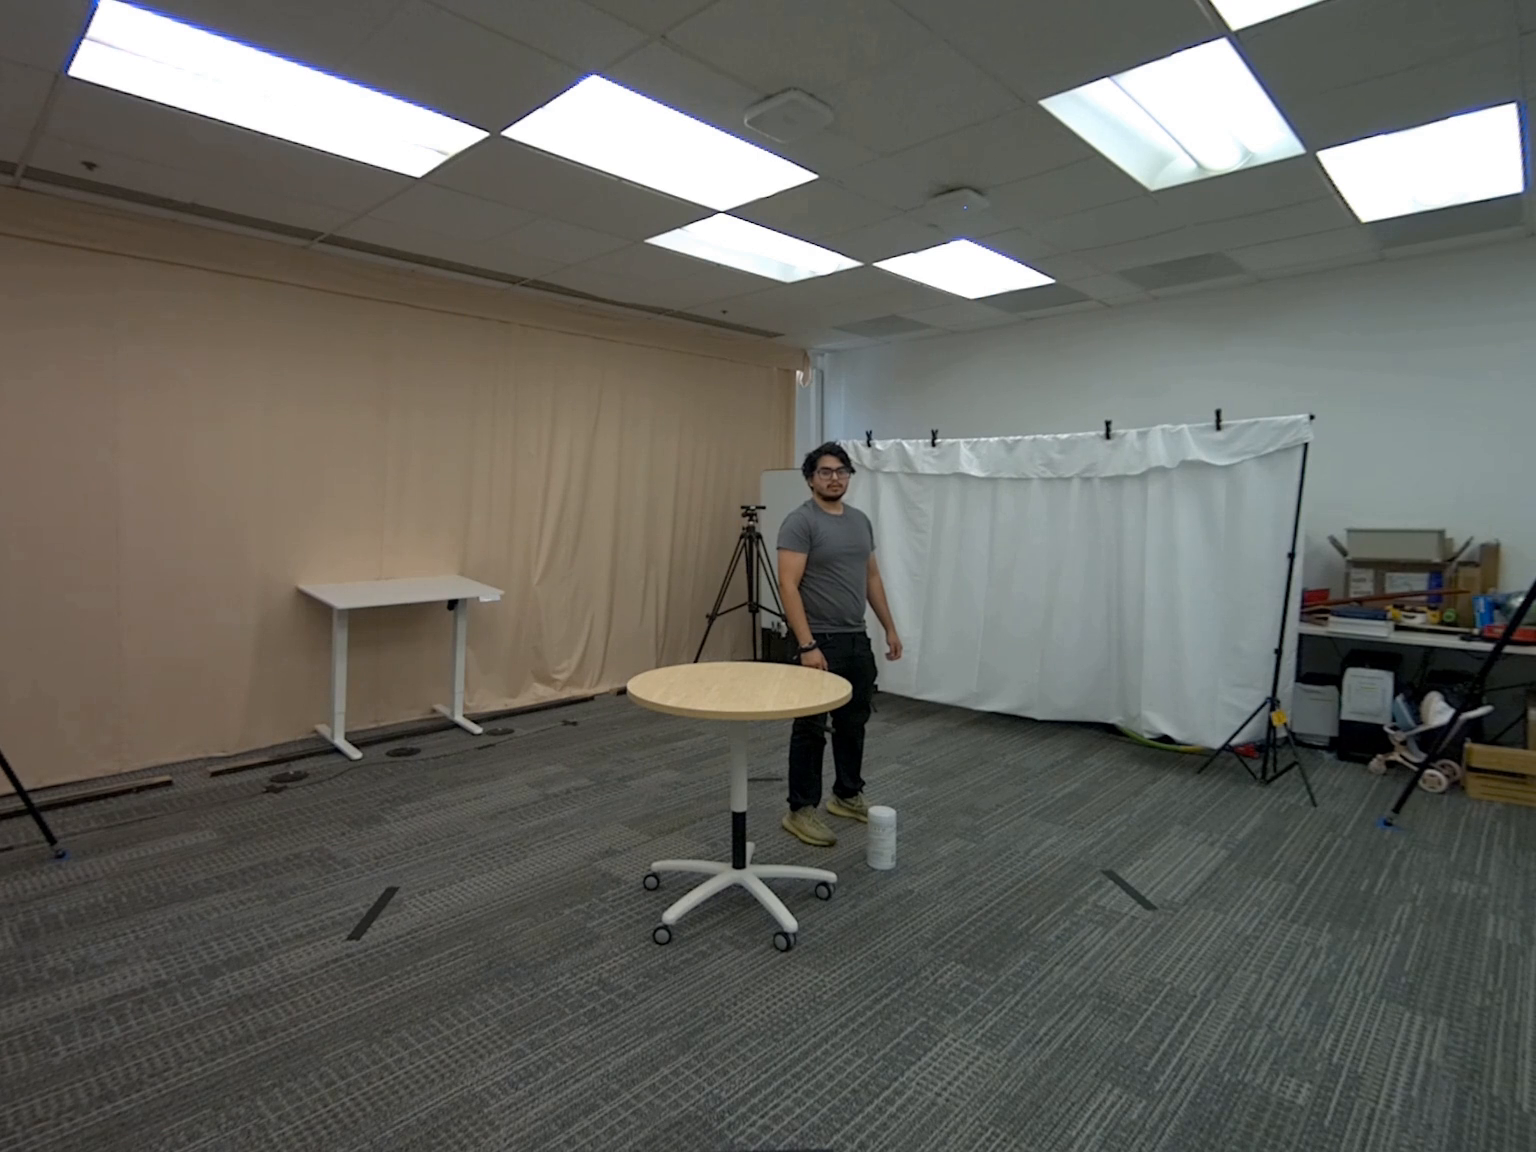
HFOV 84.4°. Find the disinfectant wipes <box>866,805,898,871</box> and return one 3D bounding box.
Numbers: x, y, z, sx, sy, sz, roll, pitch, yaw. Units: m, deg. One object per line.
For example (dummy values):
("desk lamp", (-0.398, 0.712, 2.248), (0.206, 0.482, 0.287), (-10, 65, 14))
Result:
("disinfectant wipes", (0.438, 1.007, 3.260), (0.118, 0.217, 0.118), (-1, 5, -2))
